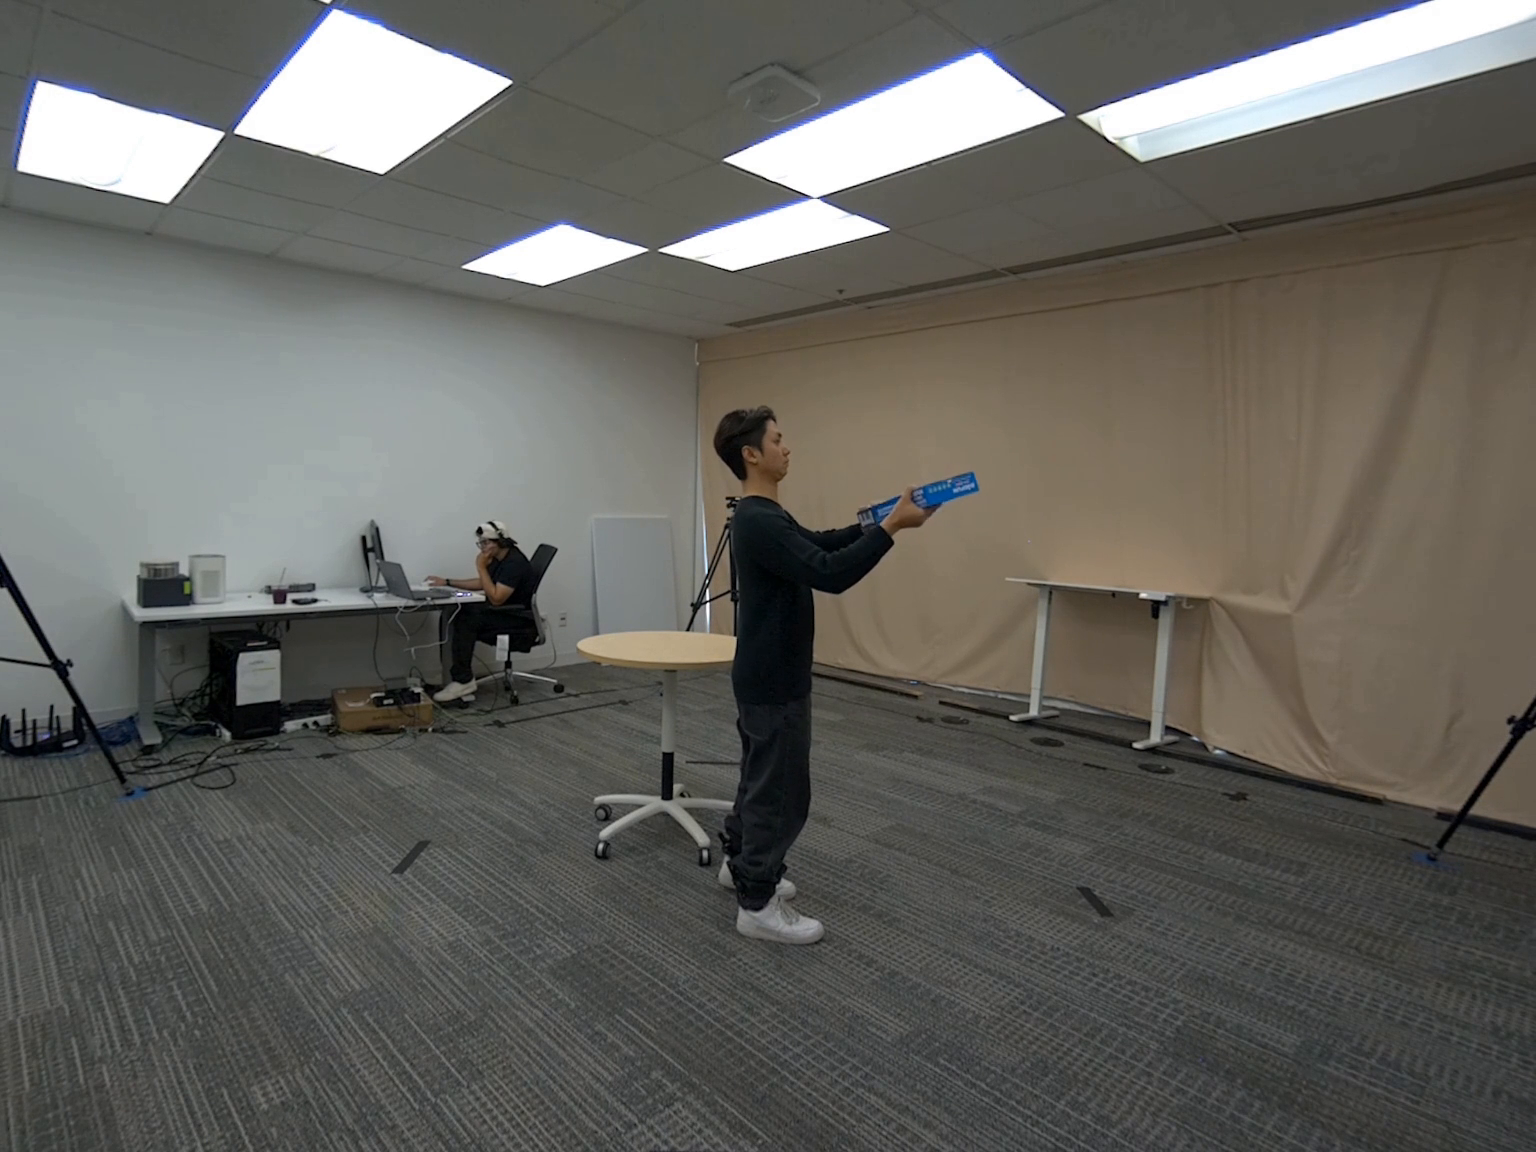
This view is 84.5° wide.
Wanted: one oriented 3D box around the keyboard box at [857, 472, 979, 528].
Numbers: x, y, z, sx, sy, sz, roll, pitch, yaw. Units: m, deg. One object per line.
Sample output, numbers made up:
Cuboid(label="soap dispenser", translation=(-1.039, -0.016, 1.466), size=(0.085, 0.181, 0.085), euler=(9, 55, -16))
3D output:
Cuboid(label="keyboard box", translation=(0.443, -0.225, 2.538), size=(0.174, 0.059, 0.440), euler=(-16, -1, -19))
